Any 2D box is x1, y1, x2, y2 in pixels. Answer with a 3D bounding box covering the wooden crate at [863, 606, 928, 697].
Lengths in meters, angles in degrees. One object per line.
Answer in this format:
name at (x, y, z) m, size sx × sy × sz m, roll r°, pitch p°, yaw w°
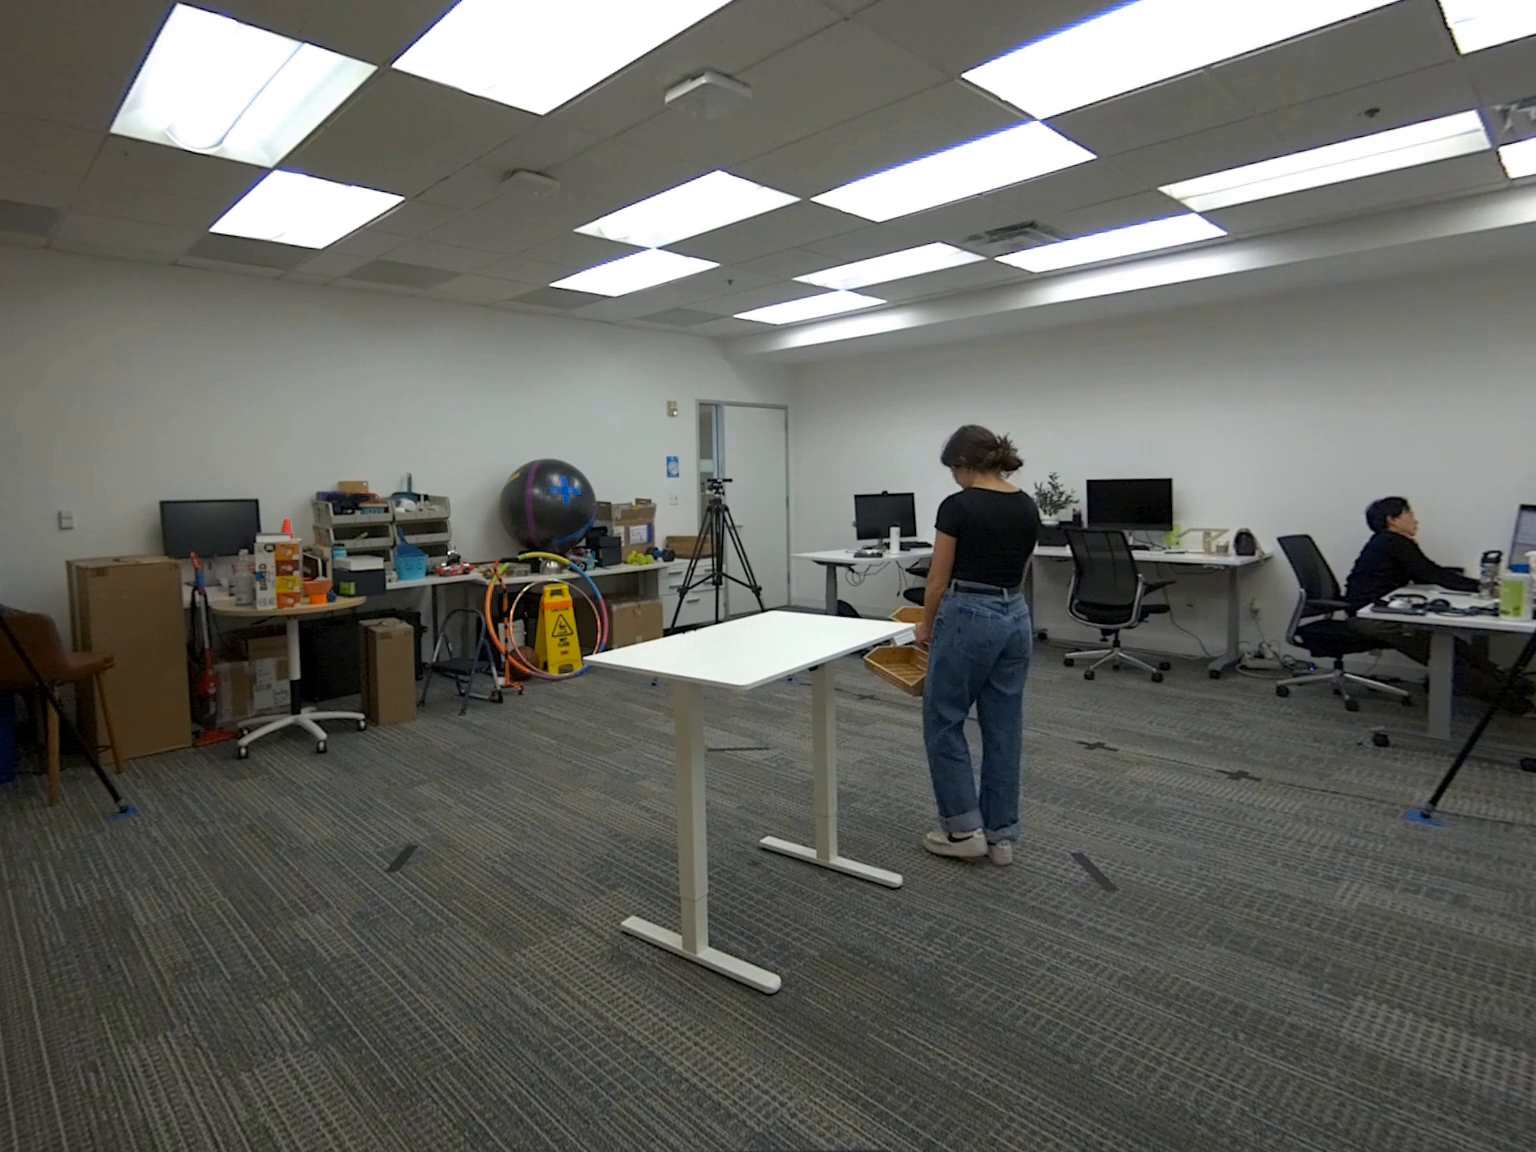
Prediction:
wooden crate at (0.599, 0.289, 3.365) m, size 0.294 × 0.271 × 0.336 m, roll 3°, pitch 12°, yaw -31°
